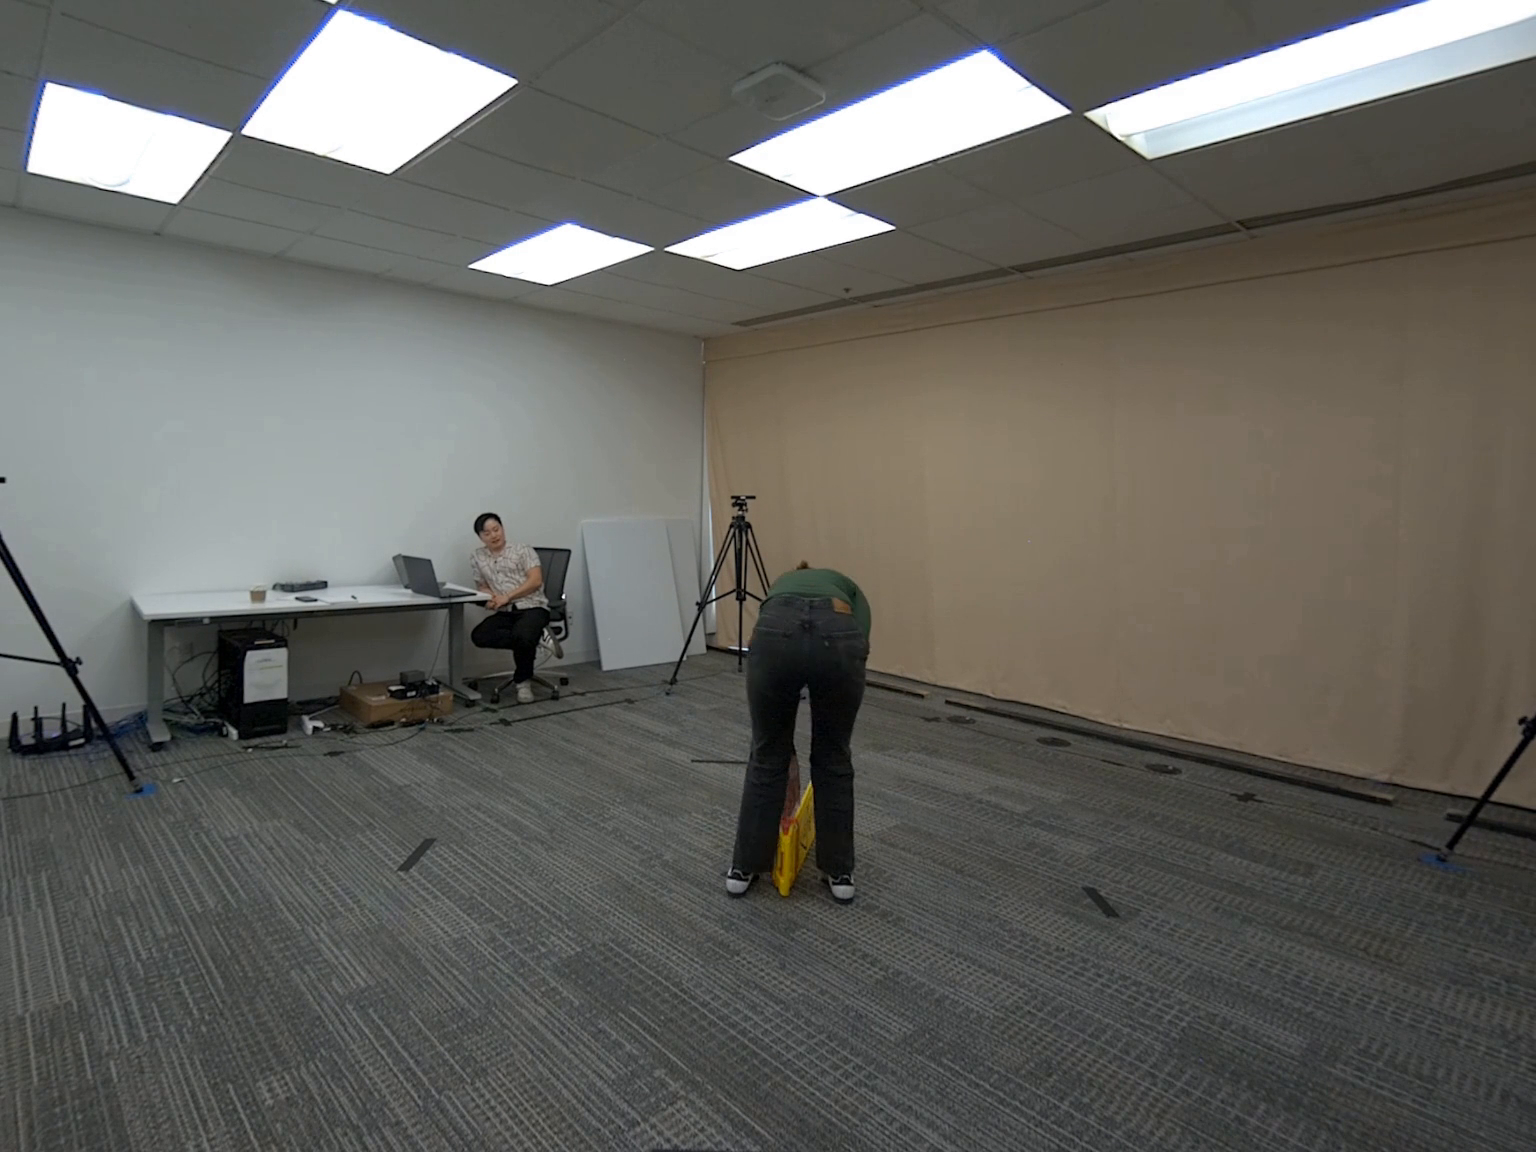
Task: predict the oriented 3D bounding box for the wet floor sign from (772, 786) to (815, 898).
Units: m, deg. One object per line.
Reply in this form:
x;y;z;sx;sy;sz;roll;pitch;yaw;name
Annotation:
0.057;0.964;3.199;0.290;0.281;0.648;2;7;0;wet floor sign
